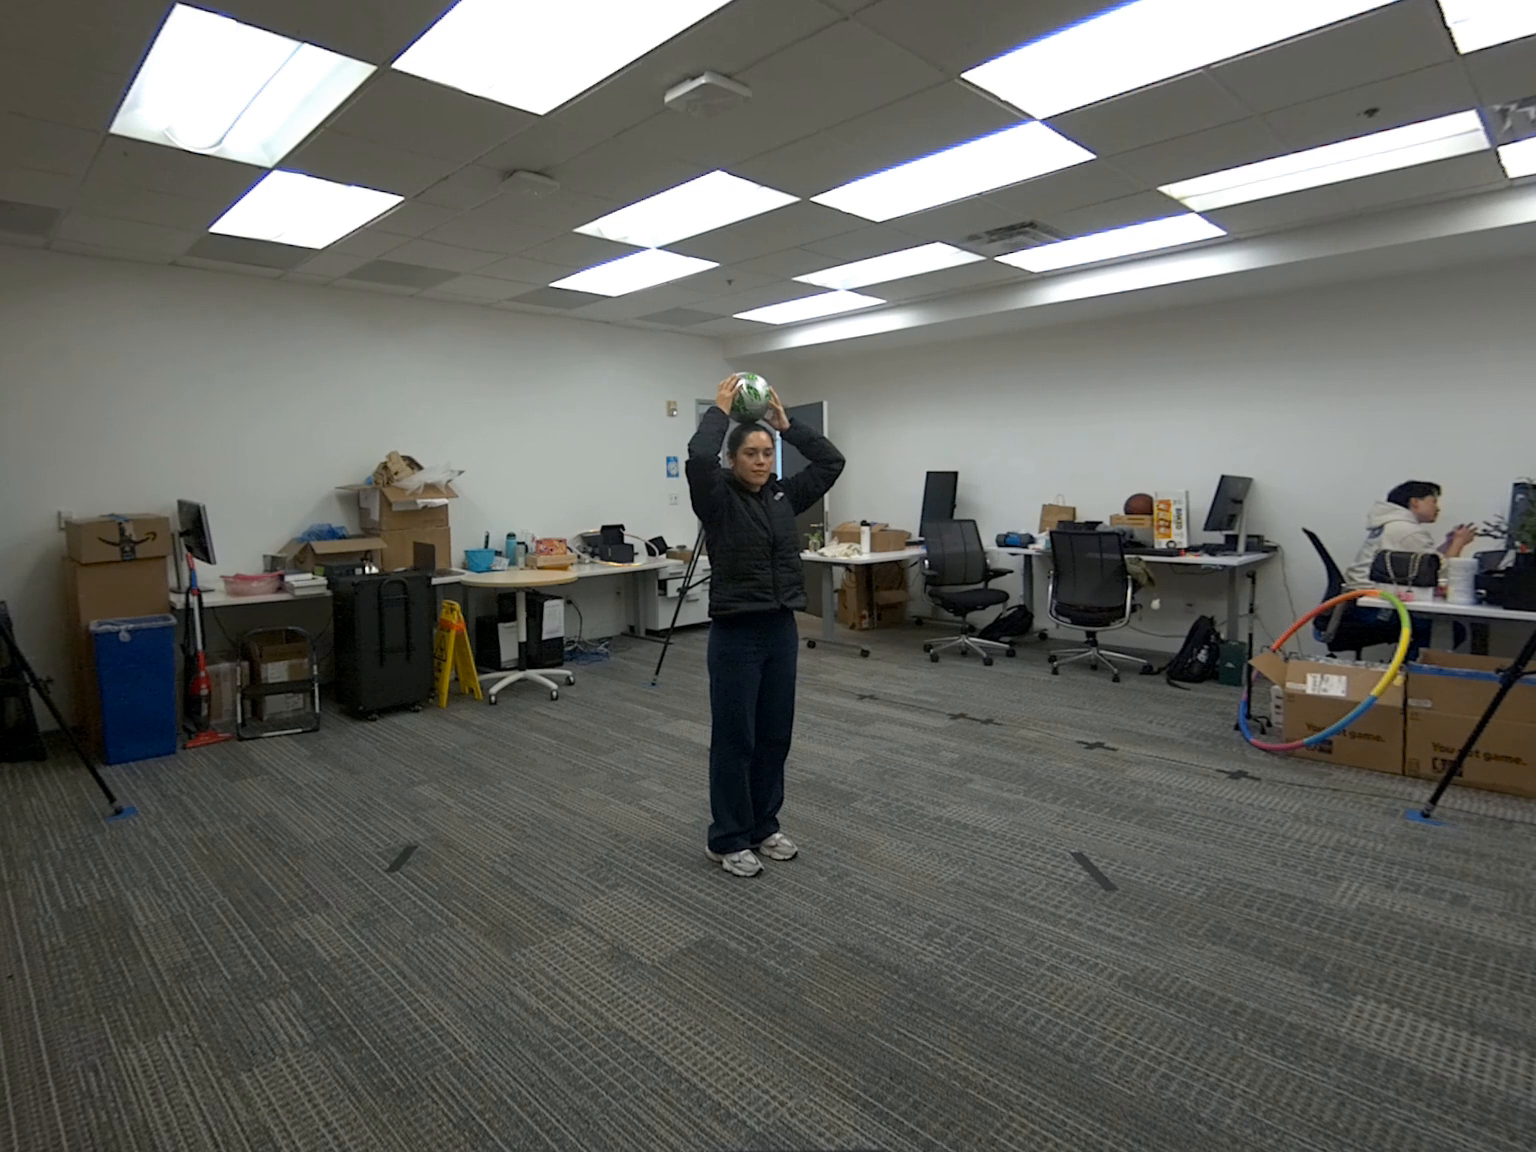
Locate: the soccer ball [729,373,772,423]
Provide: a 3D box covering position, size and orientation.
[{"bbox_3d":[-0.077,-0.646,3.111,0.187,0.187,0.188,-1,5,-2],"label":"soccer ball"}]
